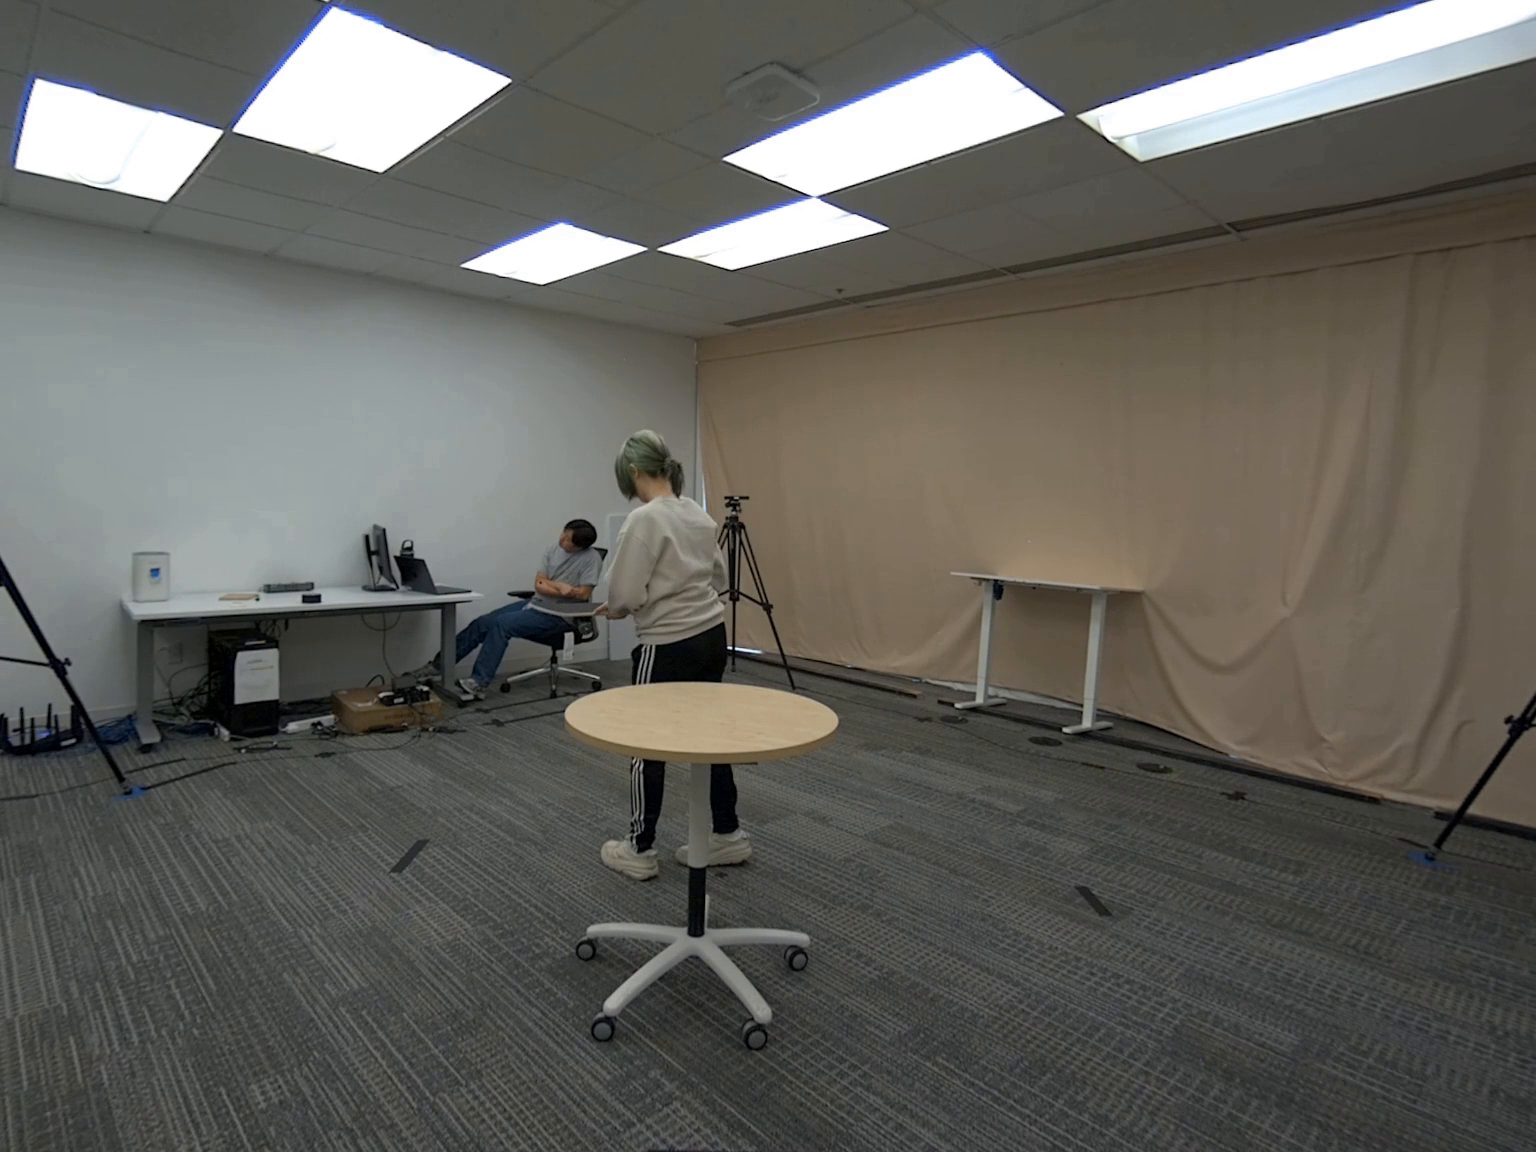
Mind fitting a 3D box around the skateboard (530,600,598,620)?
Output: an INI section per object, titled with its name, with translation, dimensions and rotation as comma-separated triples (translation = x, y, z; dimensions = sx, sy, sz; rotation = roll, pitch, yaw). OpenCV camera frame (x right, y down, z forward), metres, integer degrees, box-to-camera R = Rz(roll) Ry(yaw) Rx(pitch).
[skateboard]
translation = -0.535, 0.167, 3.321
dimensions = 0.772, 0.110, 0.198
rotation = 0, 9, -23
